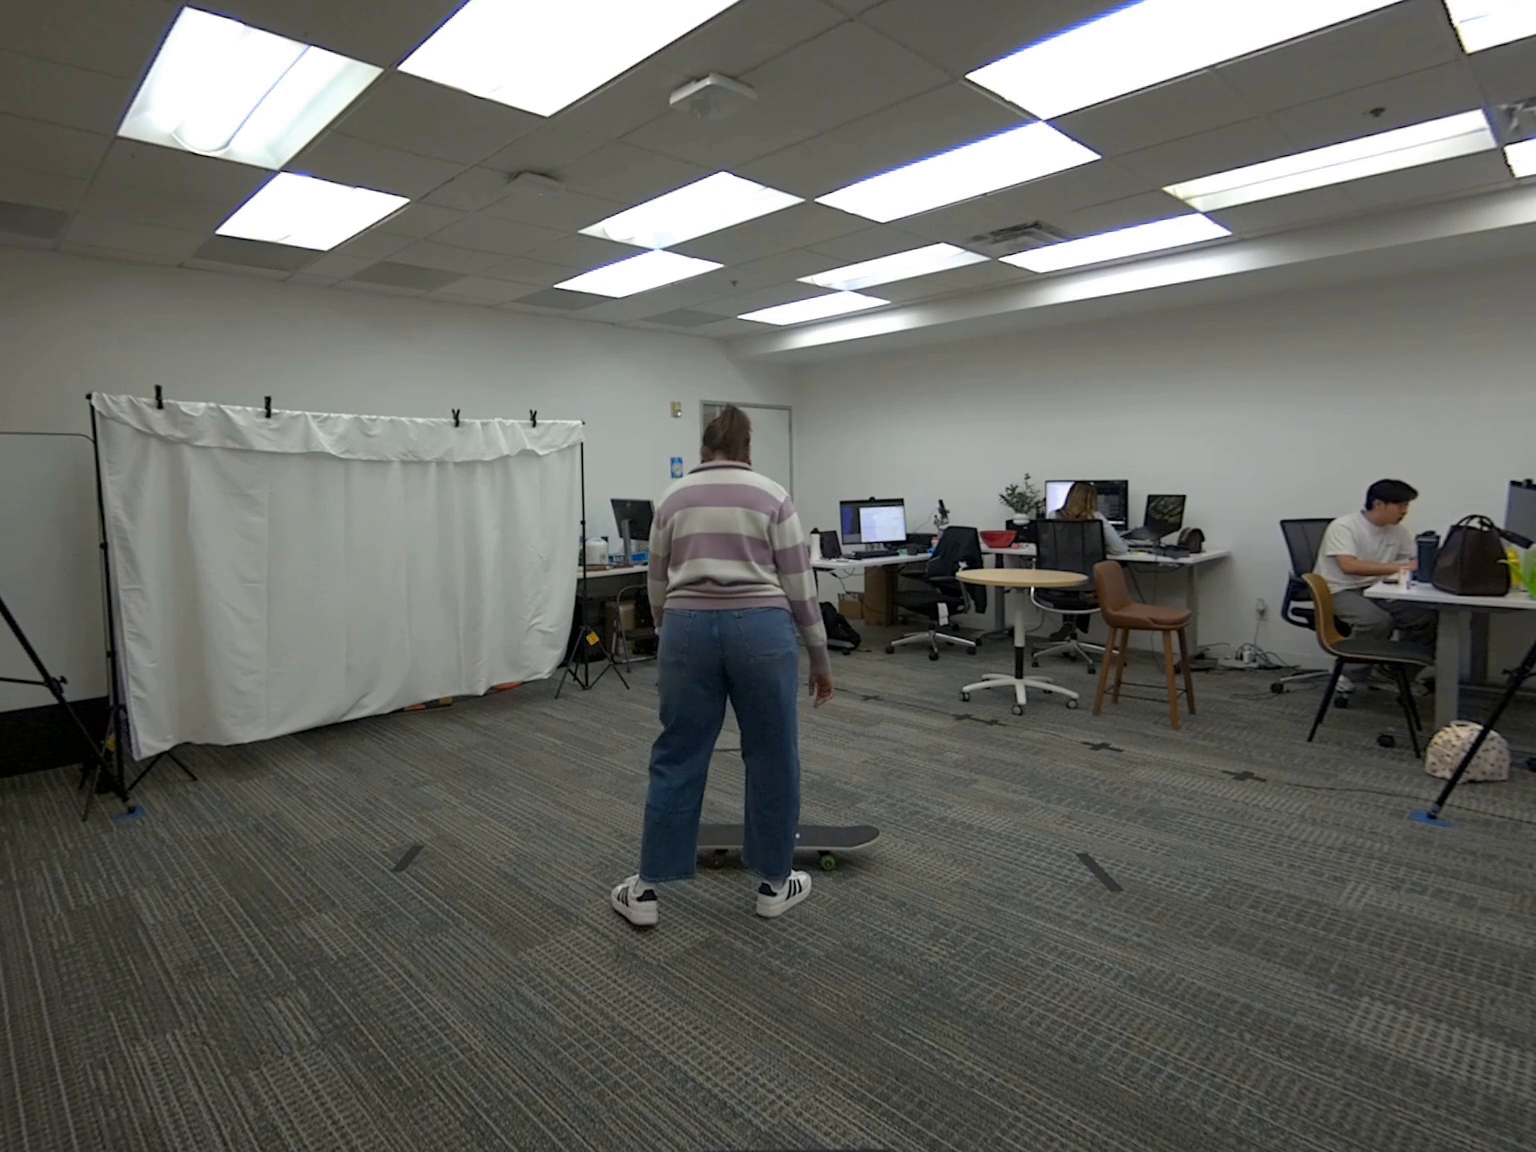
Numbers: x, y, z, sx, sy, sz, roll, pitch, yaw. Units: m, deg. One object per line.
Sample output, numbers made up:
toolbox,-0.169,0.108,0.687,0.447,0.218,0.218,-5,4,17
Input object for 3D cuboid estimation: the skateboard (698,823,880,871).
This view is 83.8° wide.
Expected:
skateboard,0.019,0.984,3.144,0.790,0.110,0.193,0,6,5
